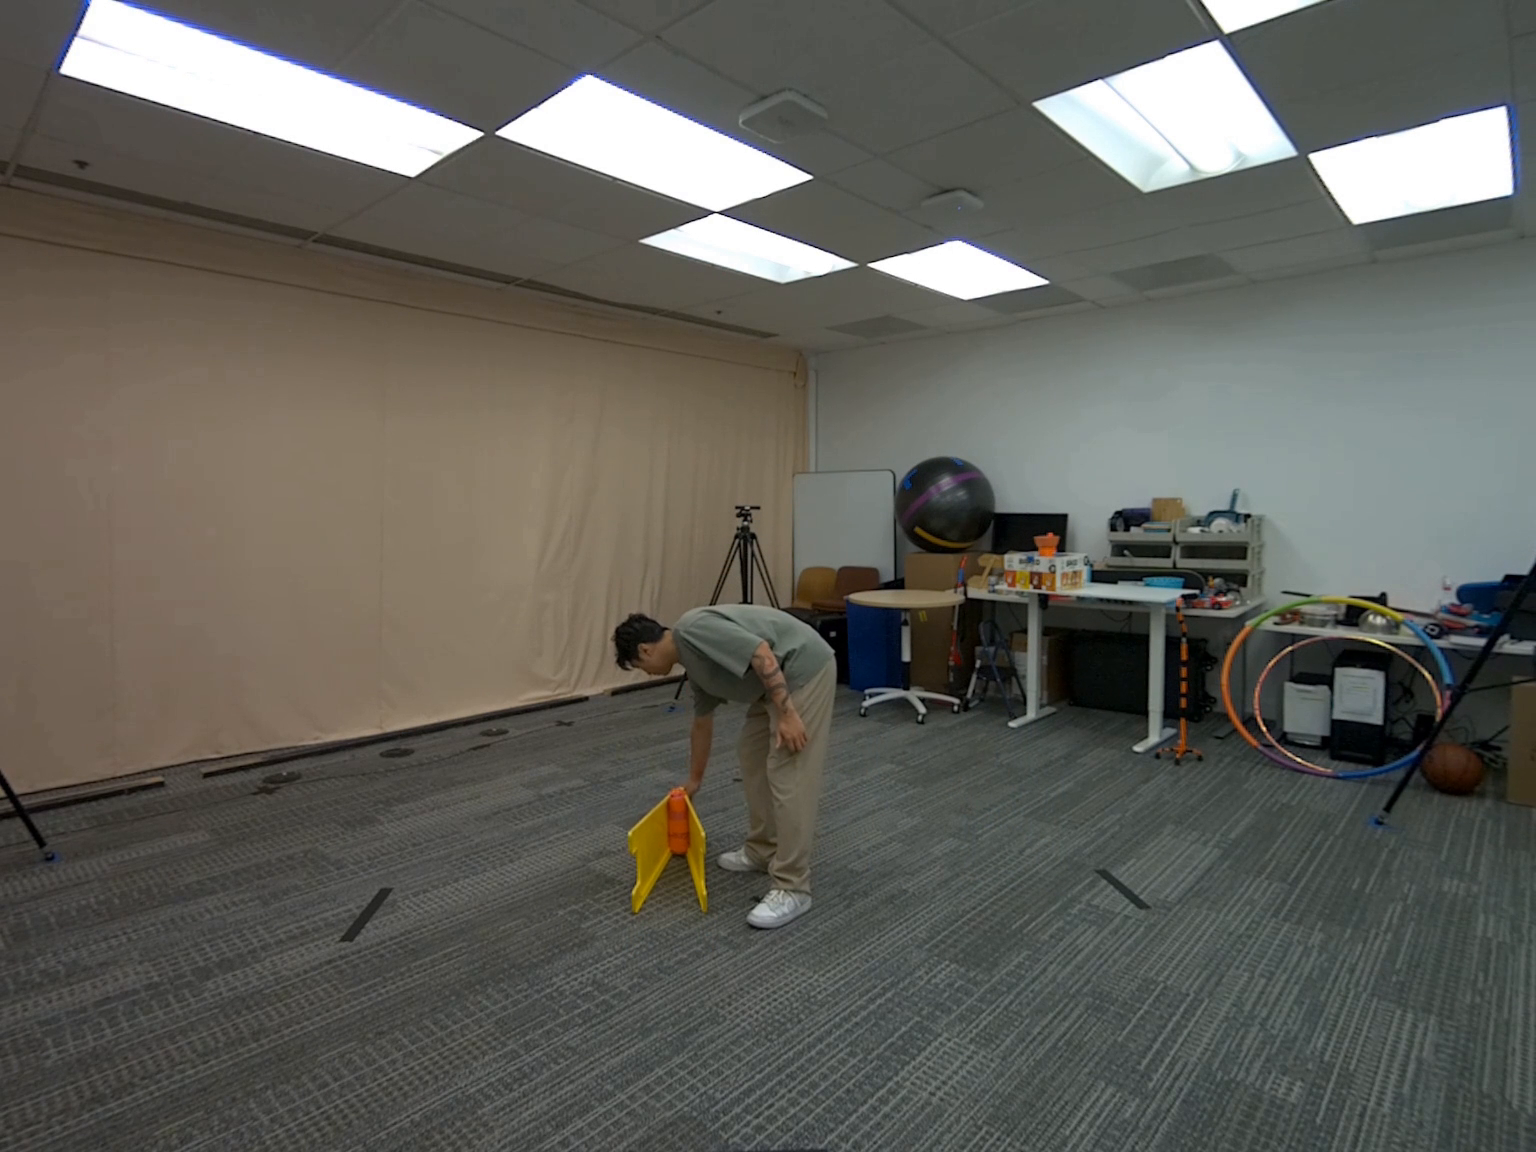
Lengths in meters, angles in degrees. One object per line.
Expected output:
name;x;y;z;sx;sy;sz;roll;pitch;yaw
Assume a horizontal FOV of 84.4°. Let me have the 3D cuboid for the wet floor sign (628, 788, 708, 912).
wet floor sign;-0.344;0.998;3.196;0.290;0.282;0.646;1;3;-1
